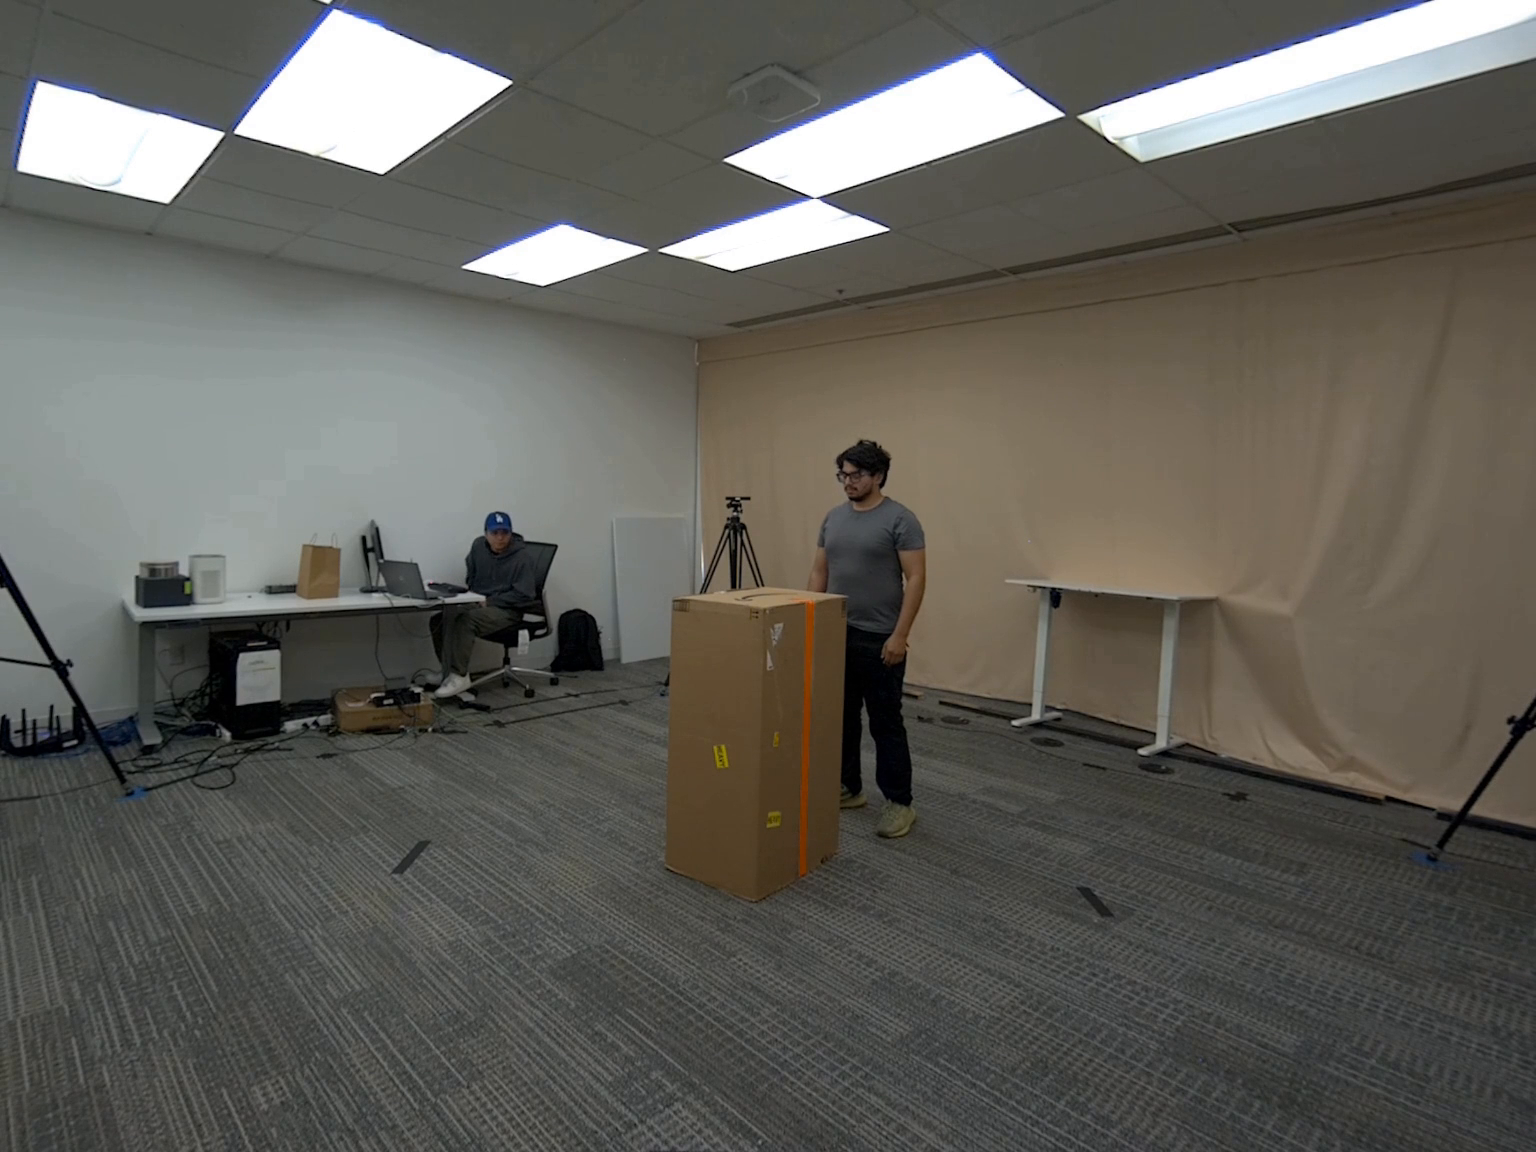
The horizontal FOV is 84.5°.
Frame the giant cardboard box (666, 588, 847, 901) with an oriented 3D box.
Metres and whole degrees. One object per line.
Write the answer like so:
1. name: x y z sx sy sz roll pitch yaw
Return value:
1. giant cardboard box: -0.042 0.593 3.223 0.457 1.025 0.571 3 3 35
